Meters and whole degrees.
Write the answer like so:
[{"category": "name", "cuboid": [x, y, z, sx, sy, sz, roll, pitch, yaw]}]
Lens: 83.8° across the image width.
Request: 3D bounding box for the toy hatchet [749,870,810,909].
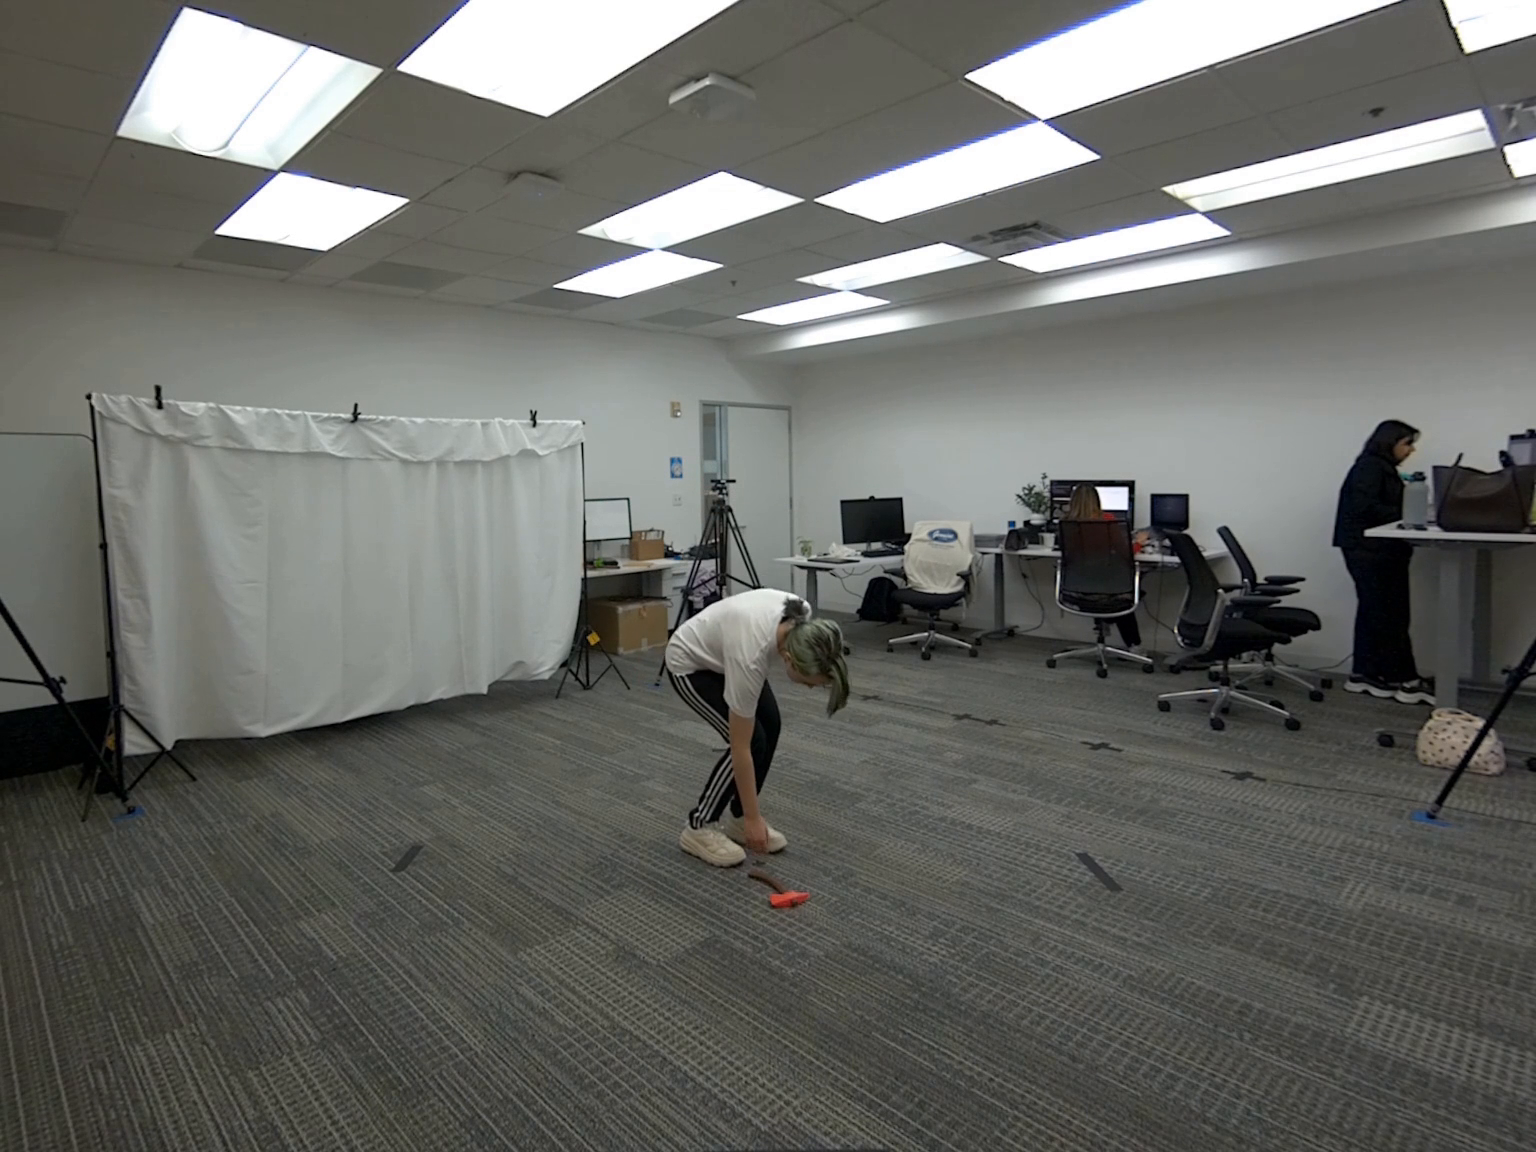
[{"category": "toy hatchet", "cuboid": [0.004, 1.065, 2.882, 0.128, 0.029, 0.278, -10, 8, -44]}]
